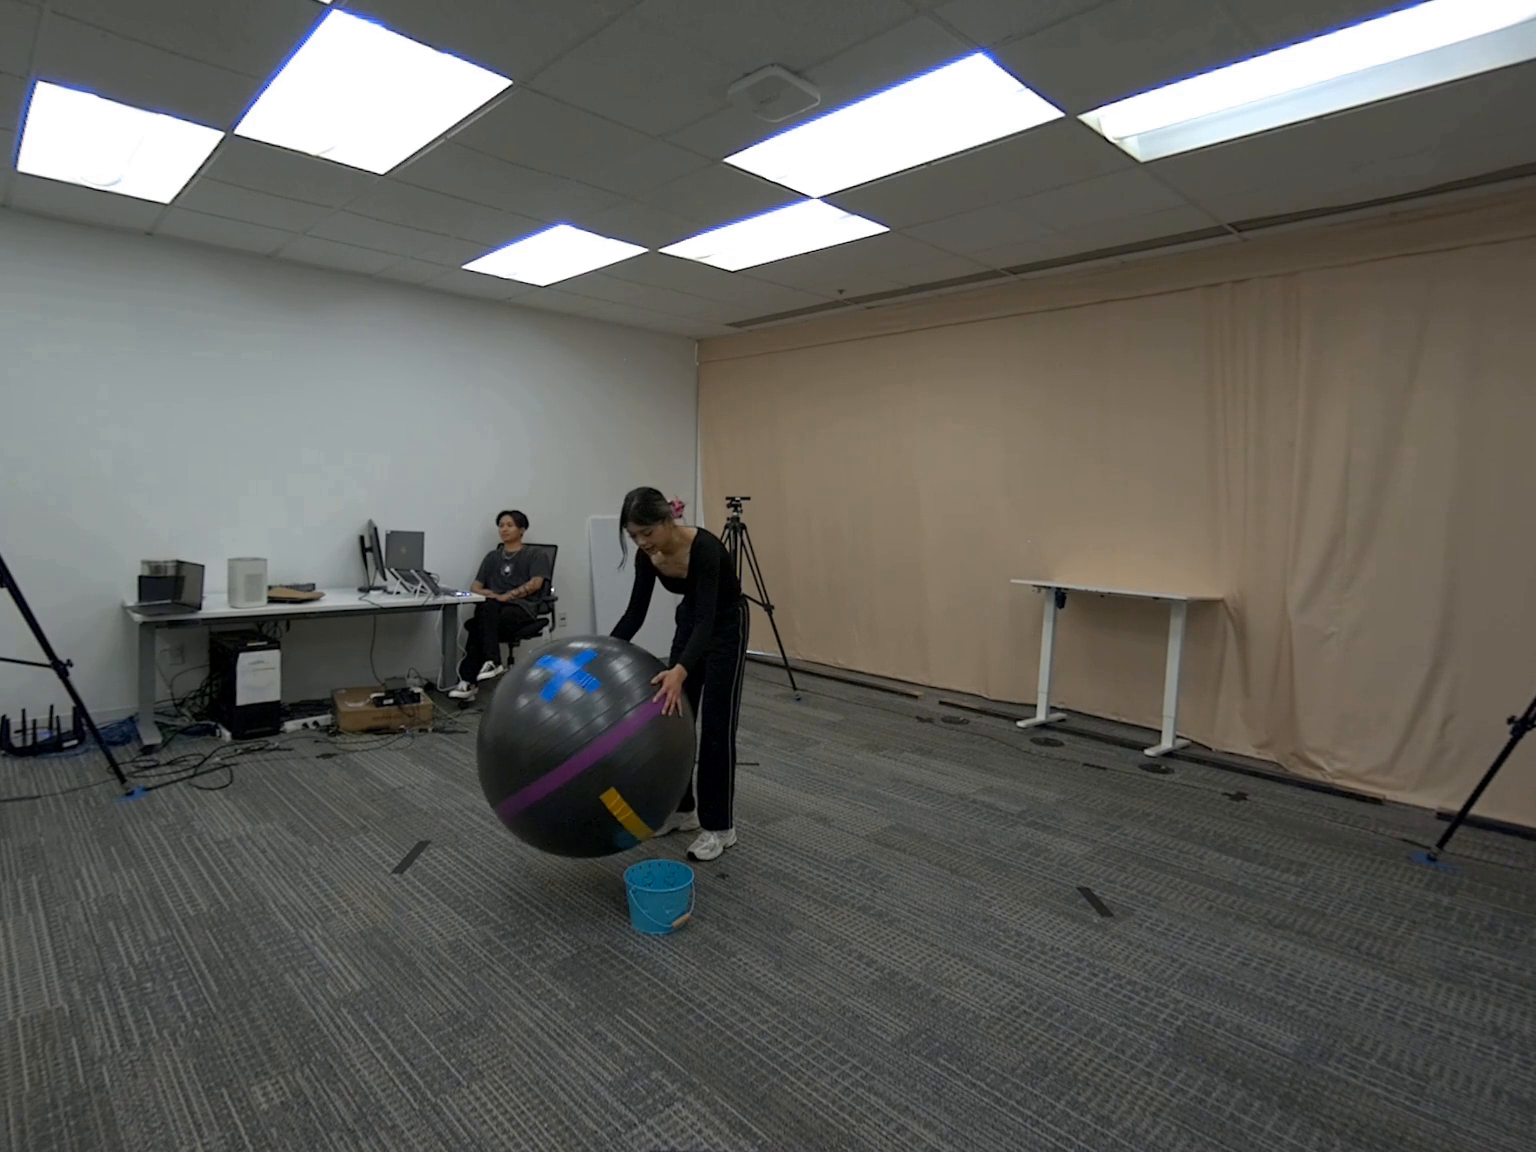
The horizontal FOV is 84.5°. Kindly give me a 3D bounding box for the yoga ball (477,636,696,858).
[{"bbox_3d":[-0.639,0.598,2.925,0.757,0.756,0.761,1,4,-1],"label":"yoga ball"}]
